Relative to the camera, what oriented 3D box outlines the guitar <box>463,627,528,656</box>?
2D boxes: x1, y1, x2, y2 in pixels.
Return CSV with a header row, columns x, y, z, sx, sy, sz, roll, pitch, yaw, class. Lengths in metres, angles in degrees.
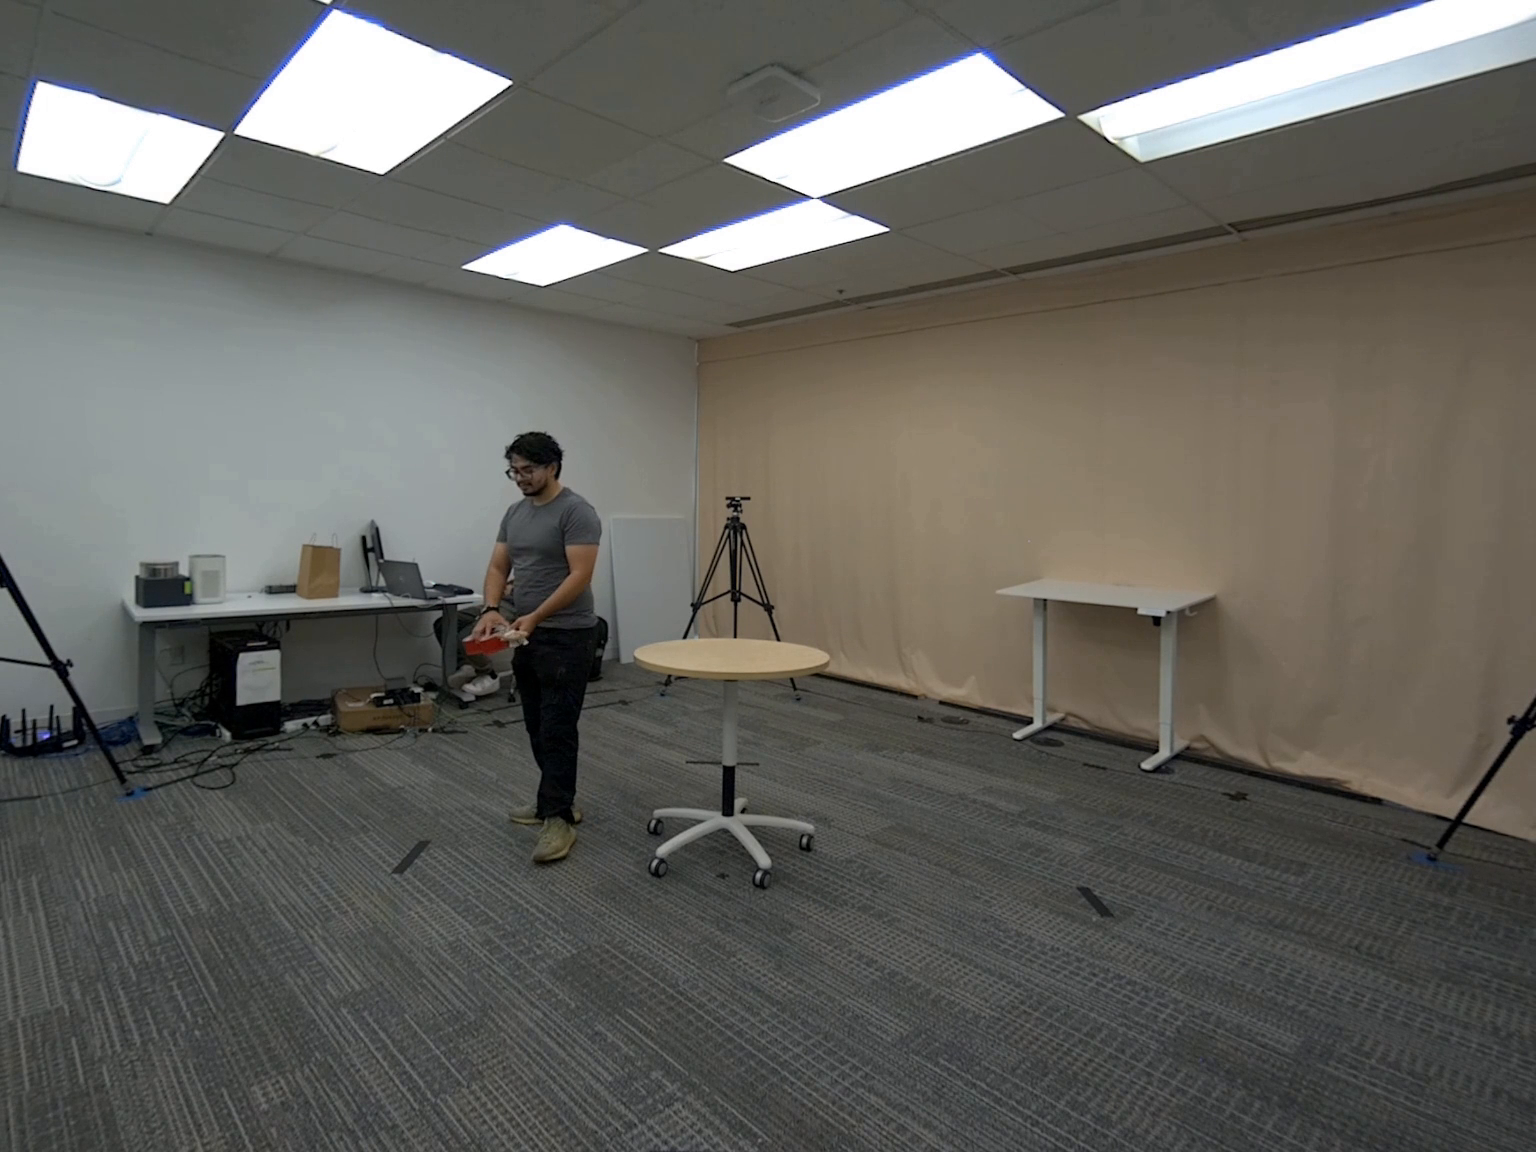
x,y,z,sx,sy,sz,roll,pitch,yaw,class
-1.038,0.245,3.160,0.192,0.070,0.508,-30,17,-21,guitar
